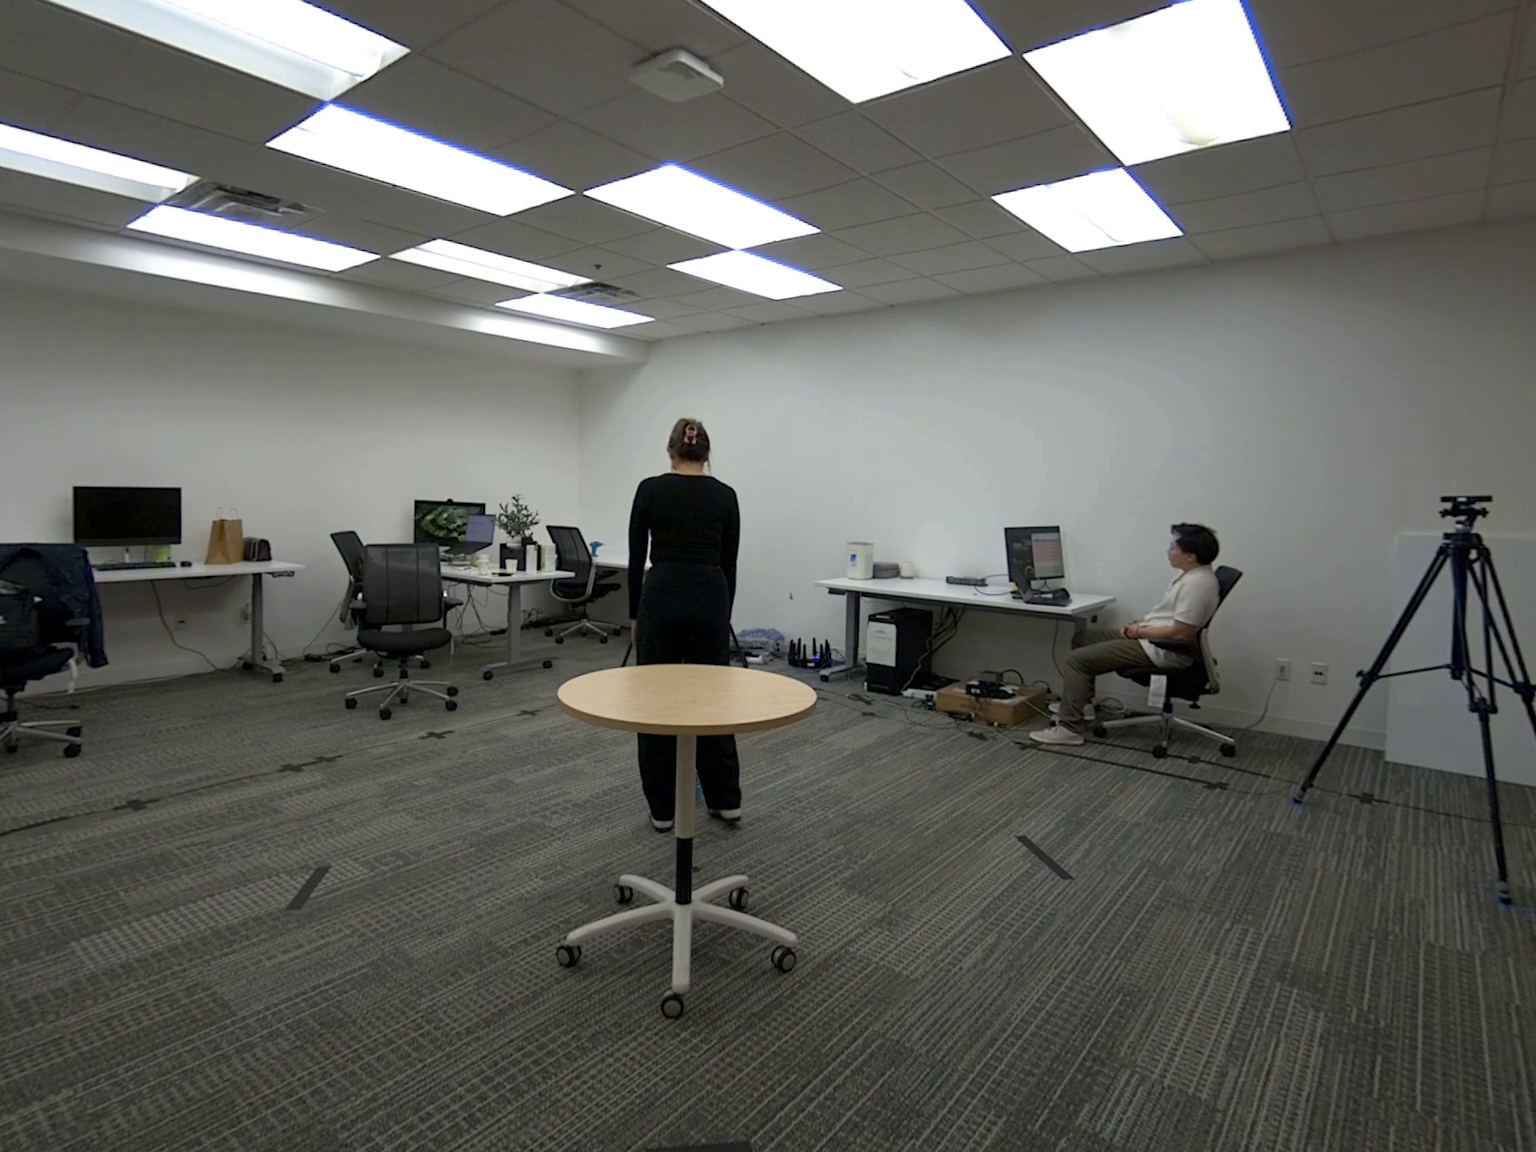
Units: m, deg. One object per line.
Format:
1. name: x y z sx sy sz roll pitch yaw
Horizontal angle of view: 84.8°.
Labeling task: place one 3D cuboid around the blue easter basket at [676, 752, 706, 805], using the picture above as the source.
1. blue easter basket: -0.392 0.911 3.812 0.243 0.155 0.245 0 4 -2
